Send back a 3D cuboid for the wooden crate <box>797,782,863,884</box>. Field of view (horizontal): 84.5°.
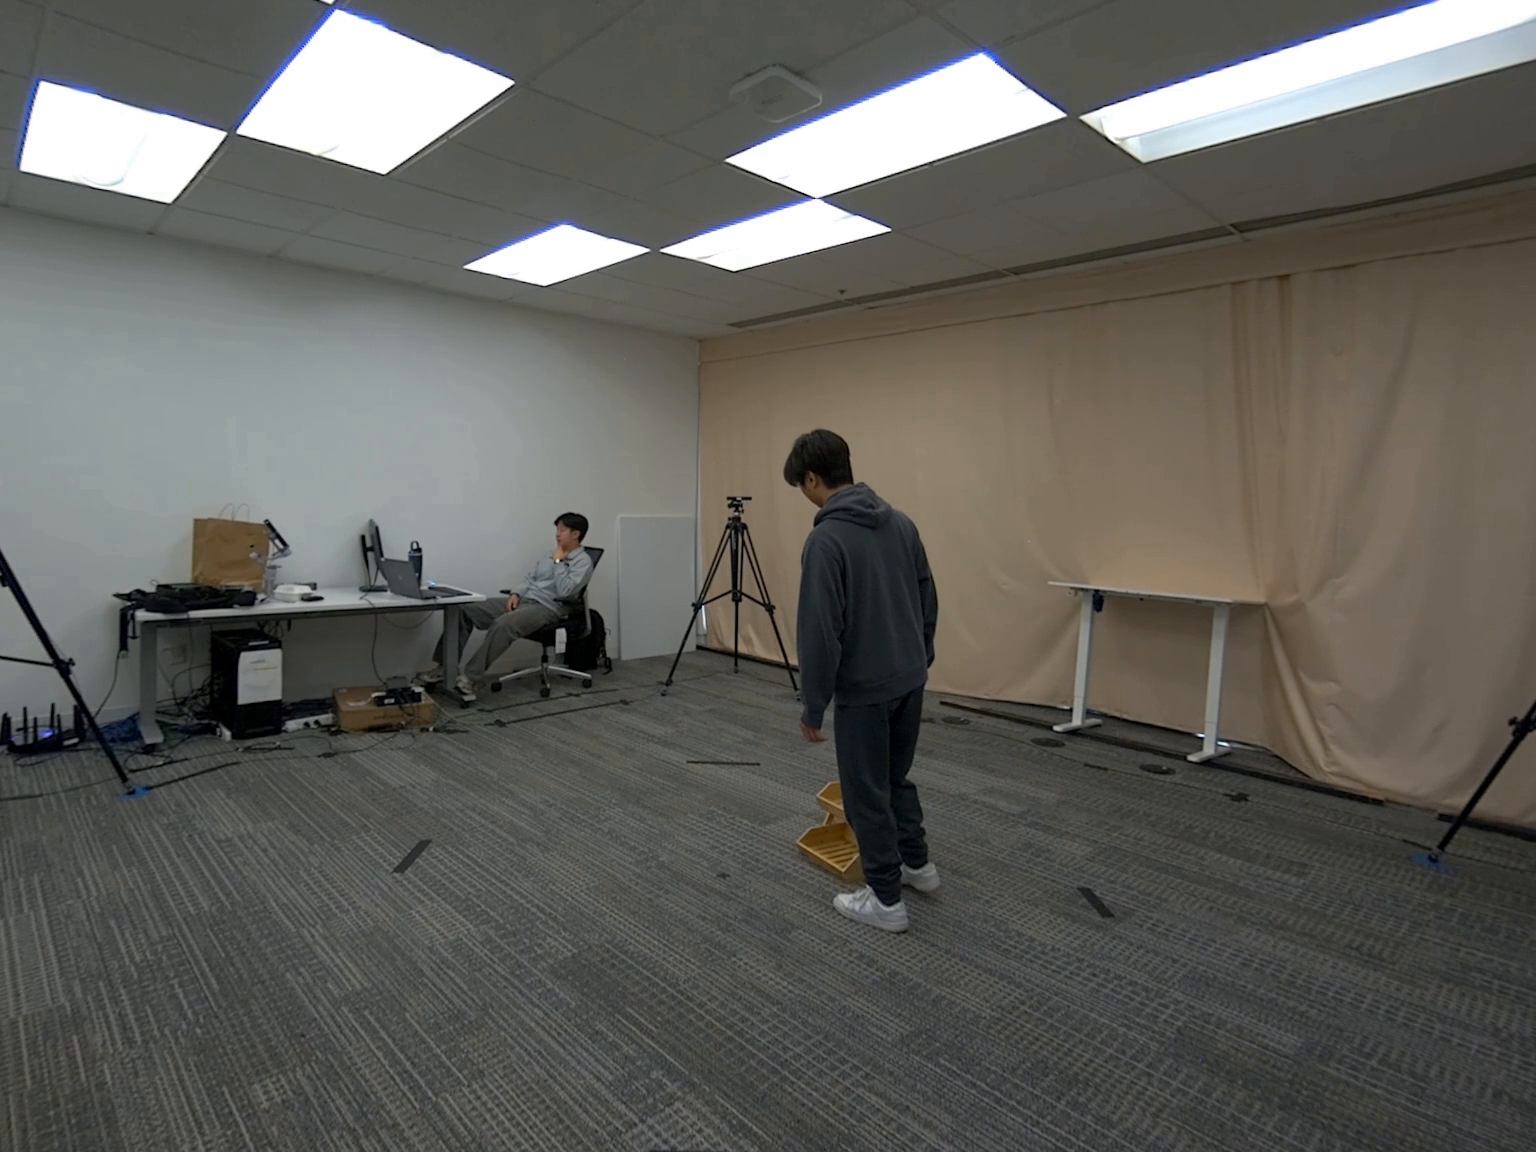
[{"bbox_3d":[0.312,0.967,3.250,0.295,0.273,0.332,0,4,-33],"label":"wooden crate"}]
